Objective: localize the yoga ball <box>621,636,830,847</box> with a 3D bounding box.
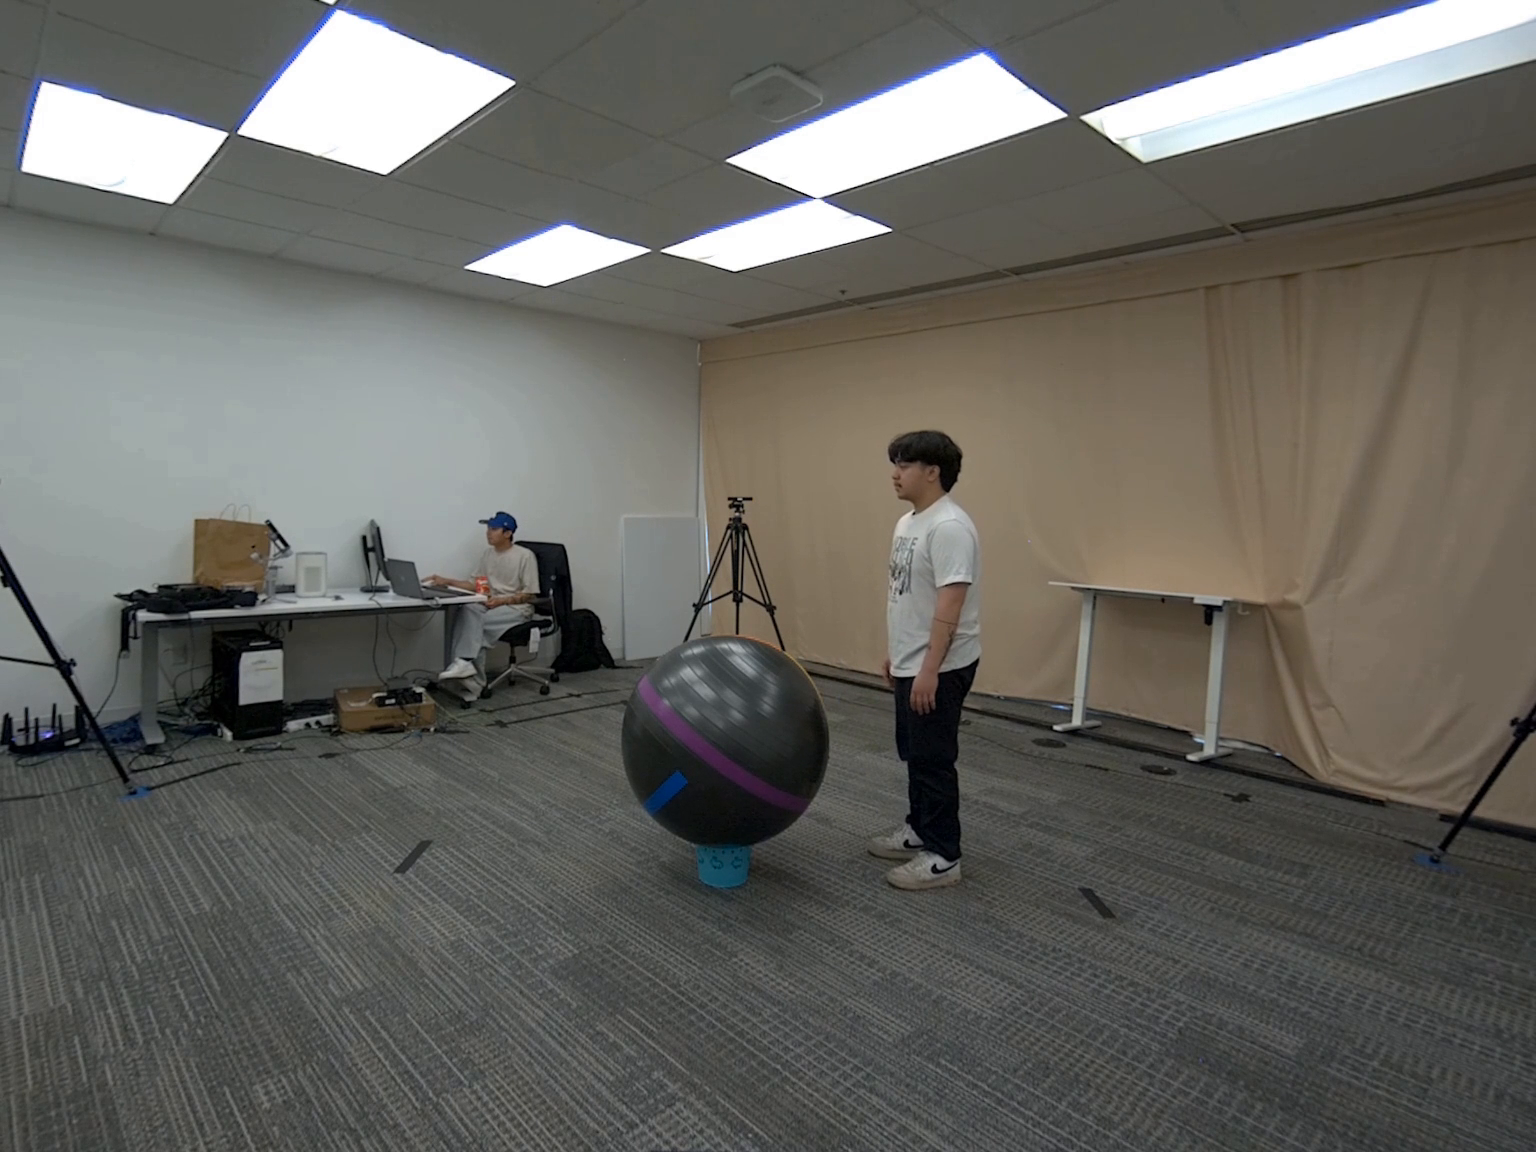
[{"bbox_3d":[-0.161,0.597,3.089,0.757,0.756,0.761,1,4,-1],"label":"yoga ball"}]
